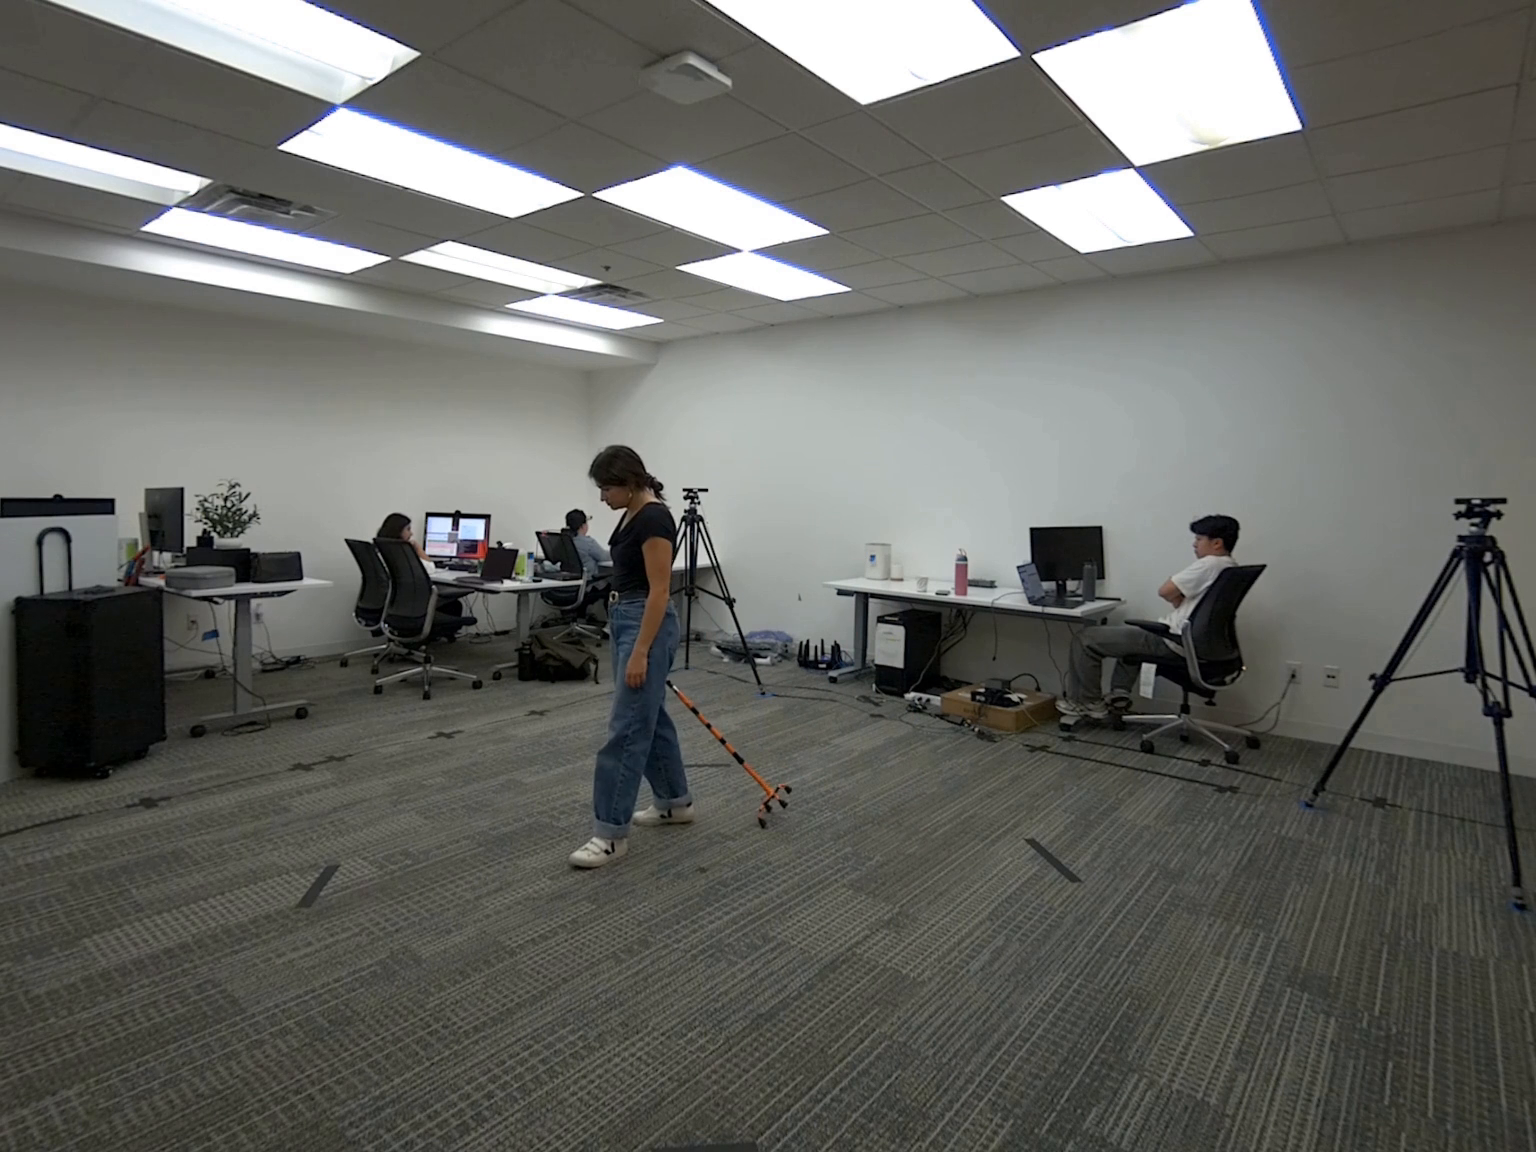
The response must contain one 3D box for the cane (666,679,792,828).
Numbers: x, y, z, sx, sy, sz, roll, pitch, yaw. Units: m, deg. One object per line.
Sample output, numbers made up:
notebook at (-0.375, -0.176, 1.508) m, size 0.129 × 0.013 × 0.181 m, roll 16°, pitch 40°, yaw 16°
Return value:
cane at (-0.265, 0.643, 3.637) m, size 0.917 × 0.152 × 0.204 m, roll 46°, pitch 8°, yaw 7°
